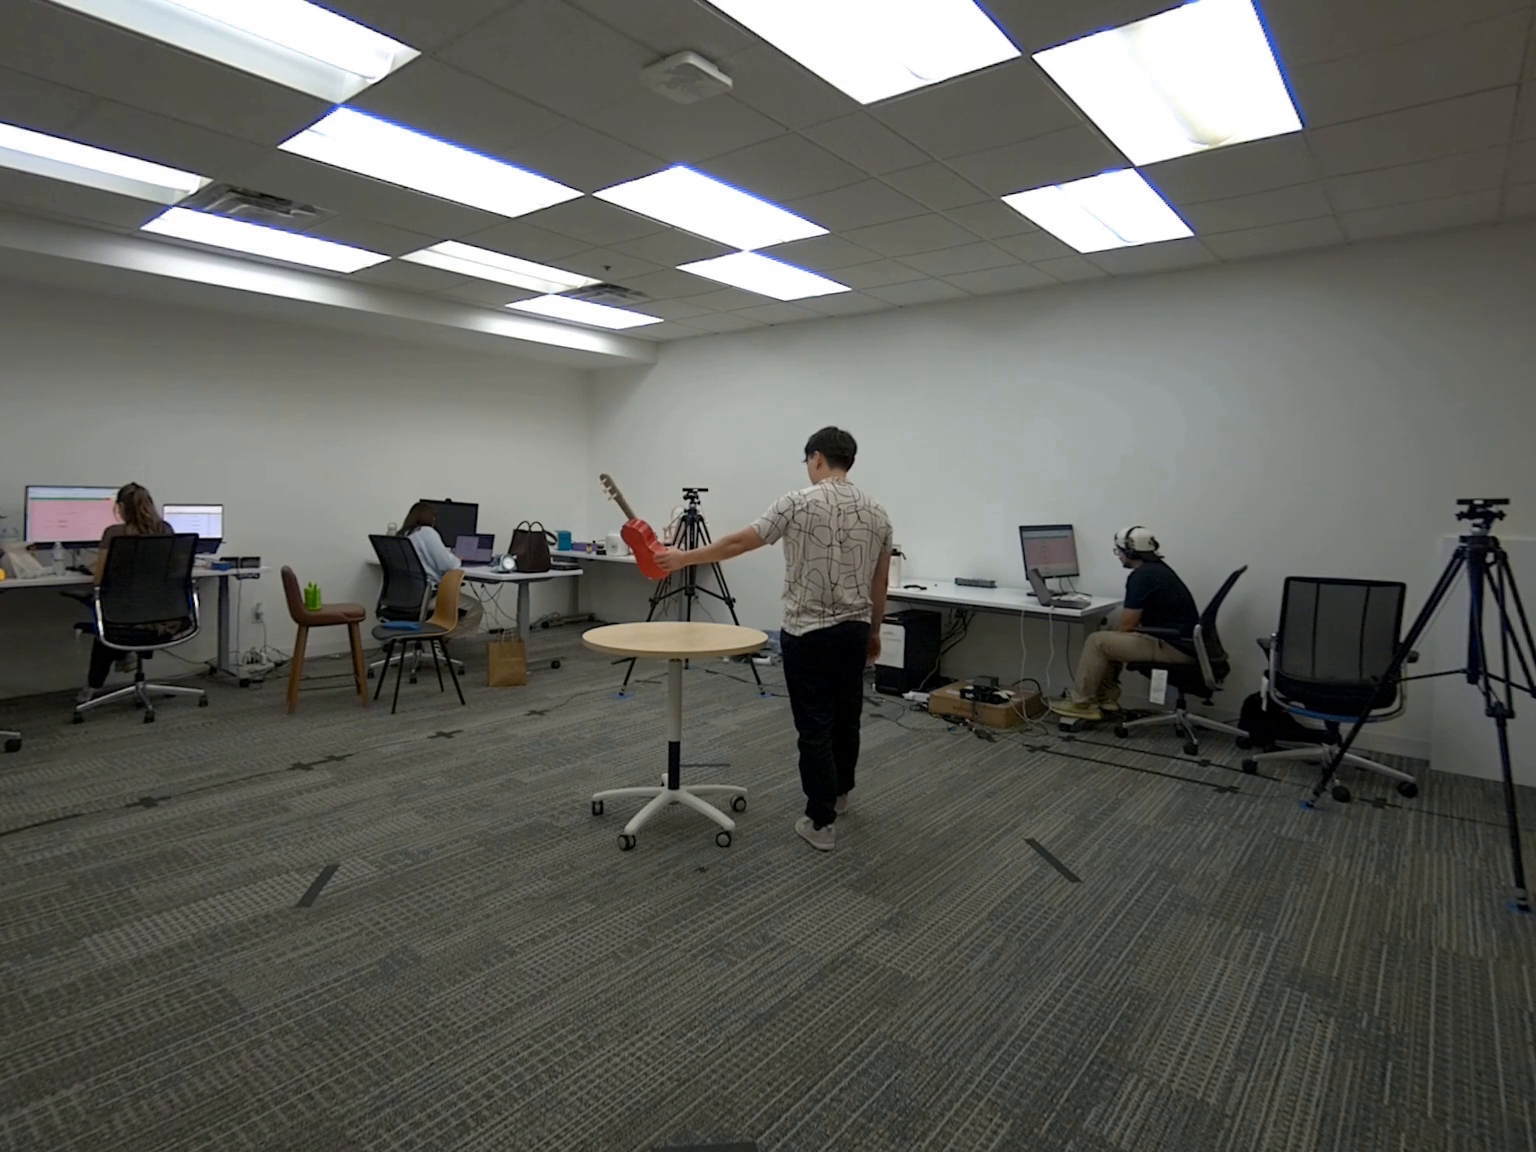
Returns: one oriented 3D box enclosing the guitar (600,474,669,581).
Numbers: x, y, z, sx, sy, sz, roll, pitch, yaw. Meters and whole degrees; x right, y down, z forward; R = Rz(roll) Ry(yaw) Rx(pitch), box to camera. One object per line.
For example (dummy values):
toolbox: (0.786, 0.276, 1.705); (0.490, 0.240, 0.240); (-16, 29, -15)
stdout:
guitar: (-0.589, -0.205, 3.576); (0.070, 0.492, 0.196); (-44, 10, -36)
